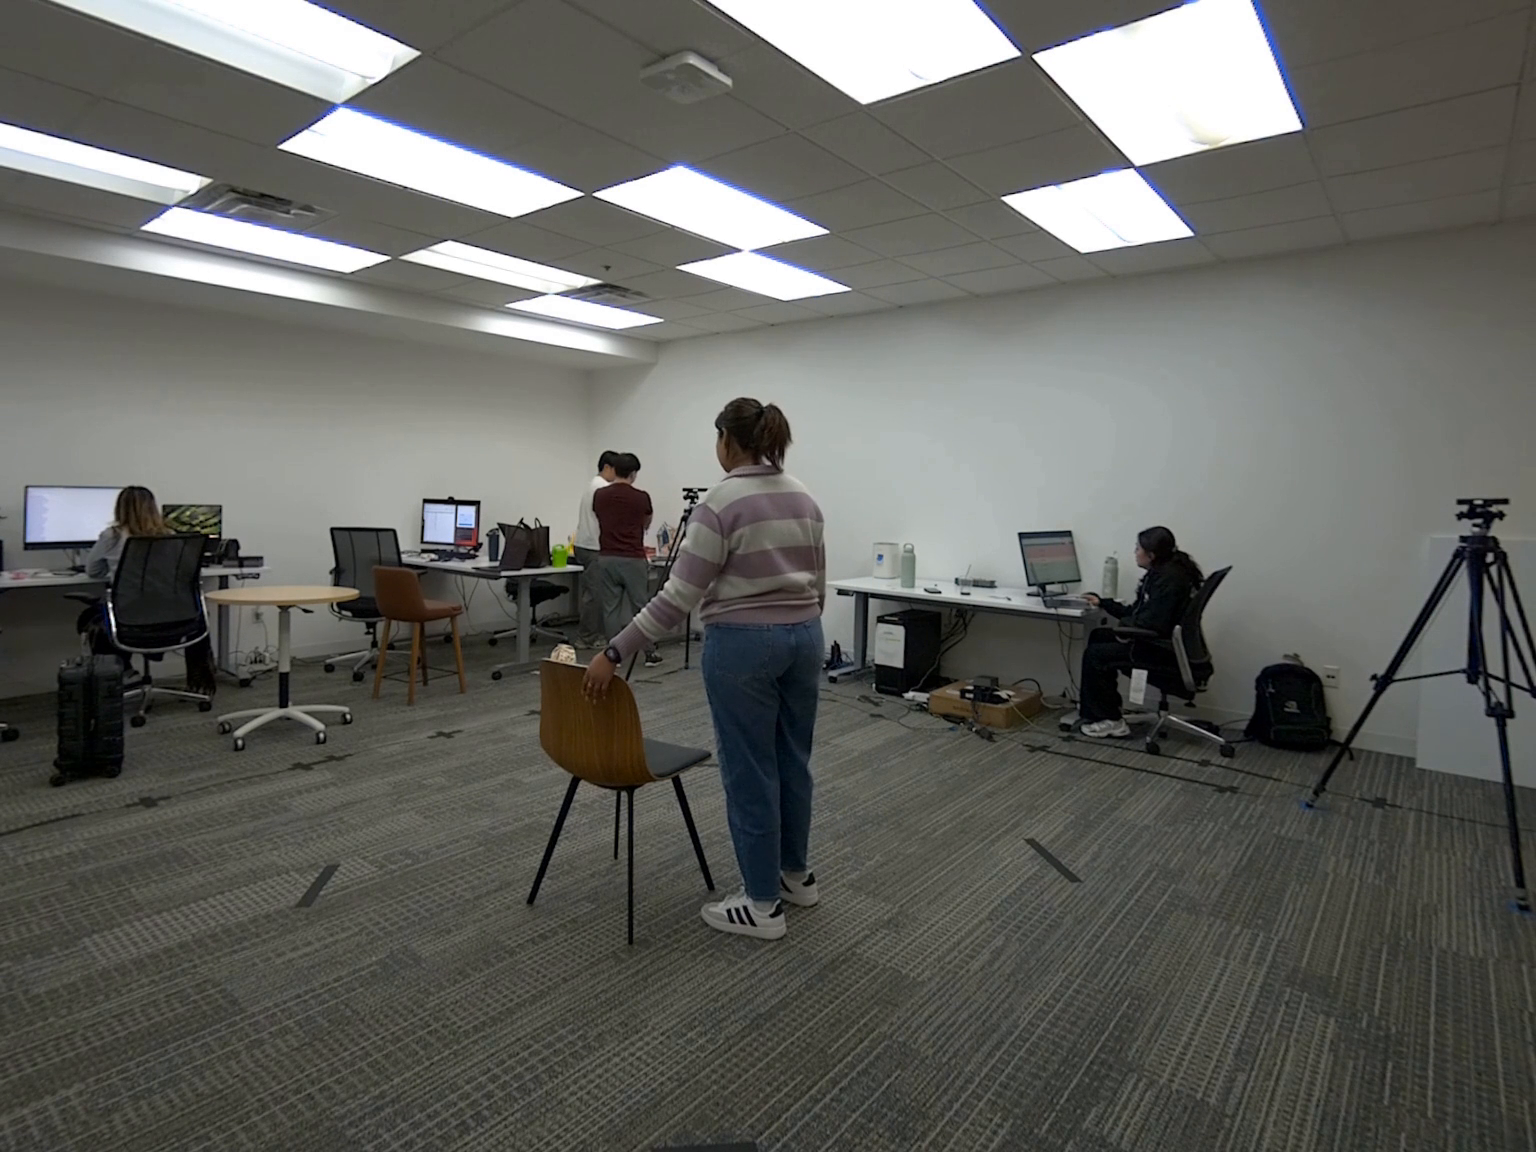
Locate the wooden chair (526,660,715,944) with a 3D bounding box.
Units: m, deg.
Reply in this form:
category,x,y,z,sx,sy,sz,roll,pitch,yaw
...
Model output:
category,x,y,z,sx,sy,sz,roll,pitch,yaw
wooden chair,-0.496,0.659,2.870,0.492,0.872,0.511,2,8,32
